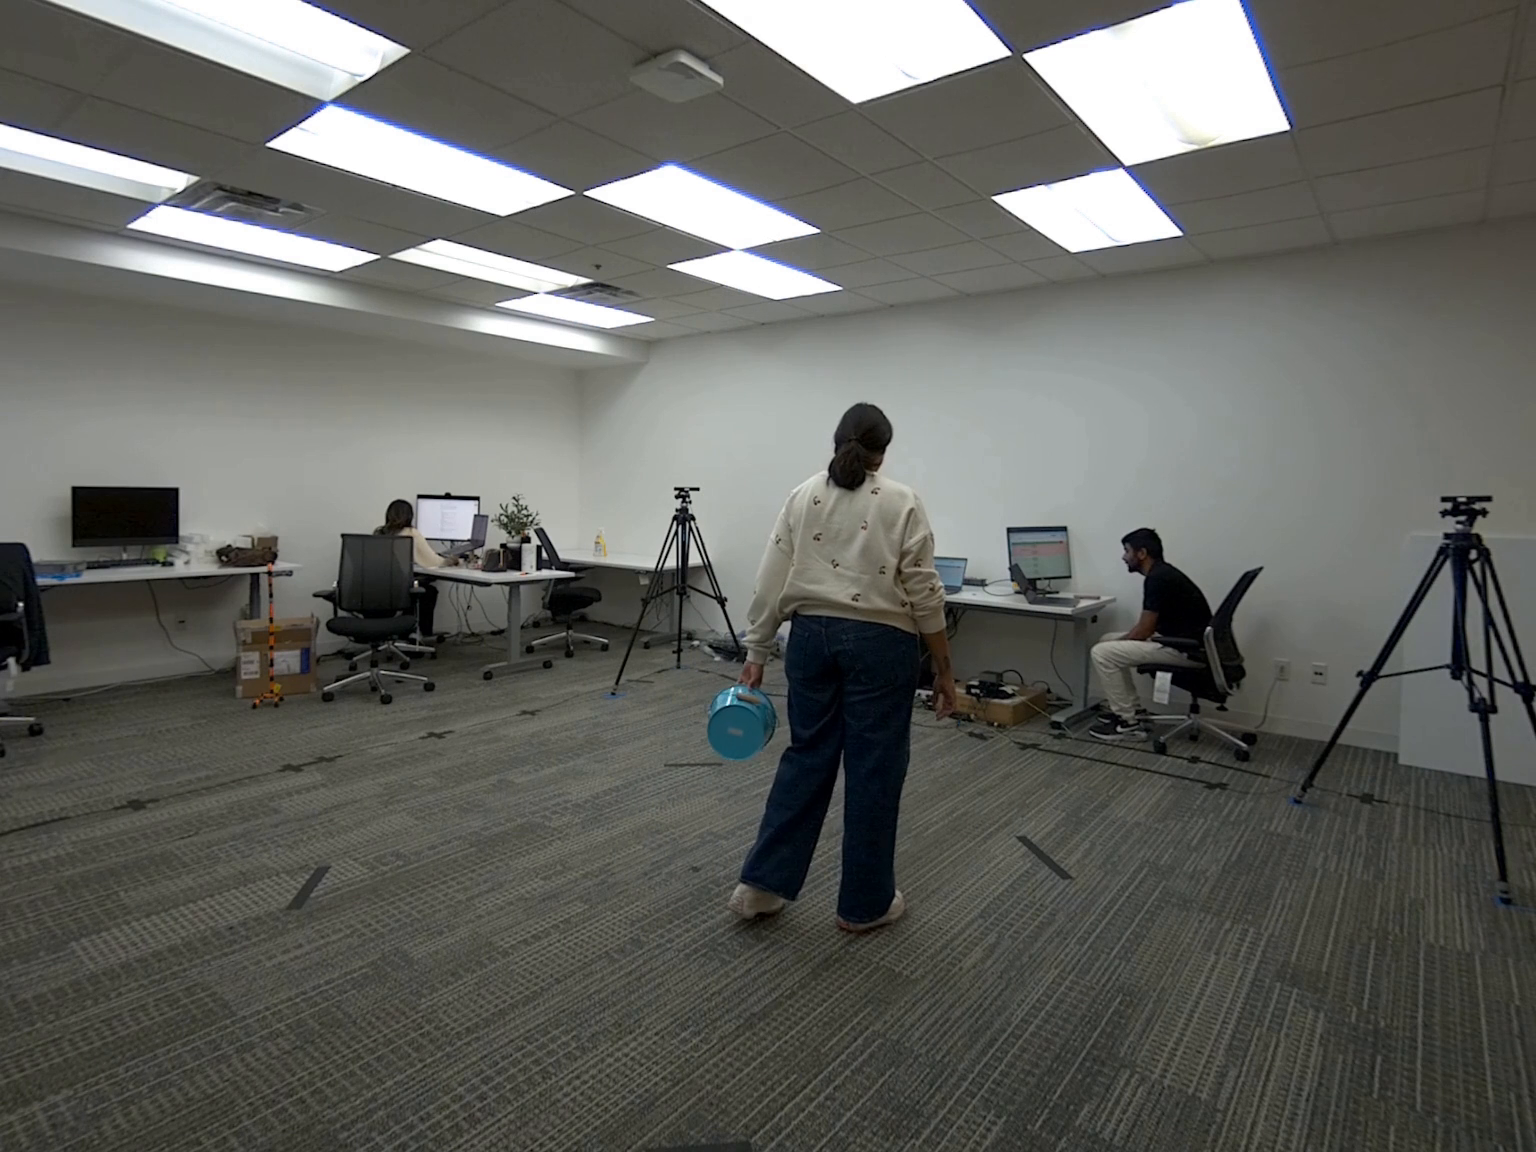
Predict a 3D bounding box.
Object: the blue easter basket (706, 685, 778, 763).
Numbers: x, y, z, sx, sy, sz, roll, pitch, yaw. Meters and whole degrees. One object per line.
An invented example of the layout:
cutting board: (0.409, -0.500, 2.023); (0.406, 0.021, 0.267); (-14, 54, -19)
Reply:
blue easter basket: (-0.109, 0.468, 2.787); (0.246, 0.243, 0.155); (1, 4, 9)
